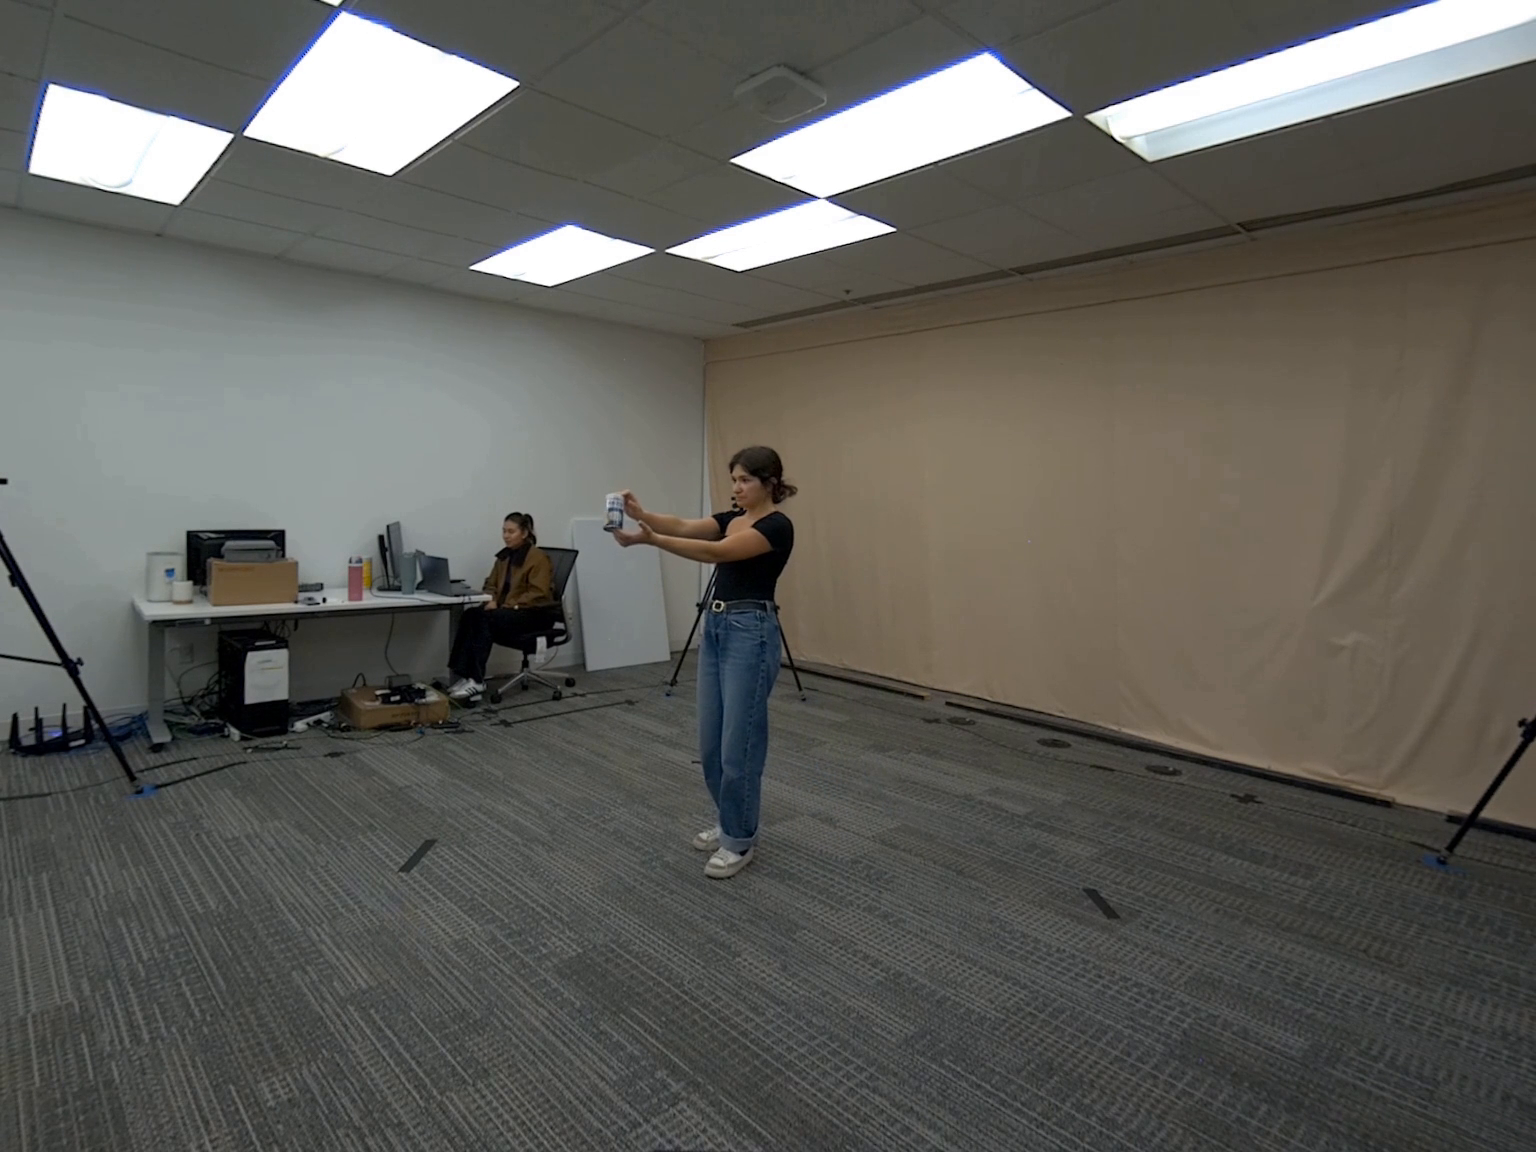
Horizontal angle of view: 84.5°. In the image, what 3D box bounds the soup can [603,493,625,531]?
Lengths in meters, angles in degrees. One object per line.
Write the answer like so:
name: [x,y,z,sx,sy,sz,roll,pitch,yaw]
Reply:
soup can: [-0.530,-0.213,2.854,0.067,0.122,0.066,1,-12,-1]
